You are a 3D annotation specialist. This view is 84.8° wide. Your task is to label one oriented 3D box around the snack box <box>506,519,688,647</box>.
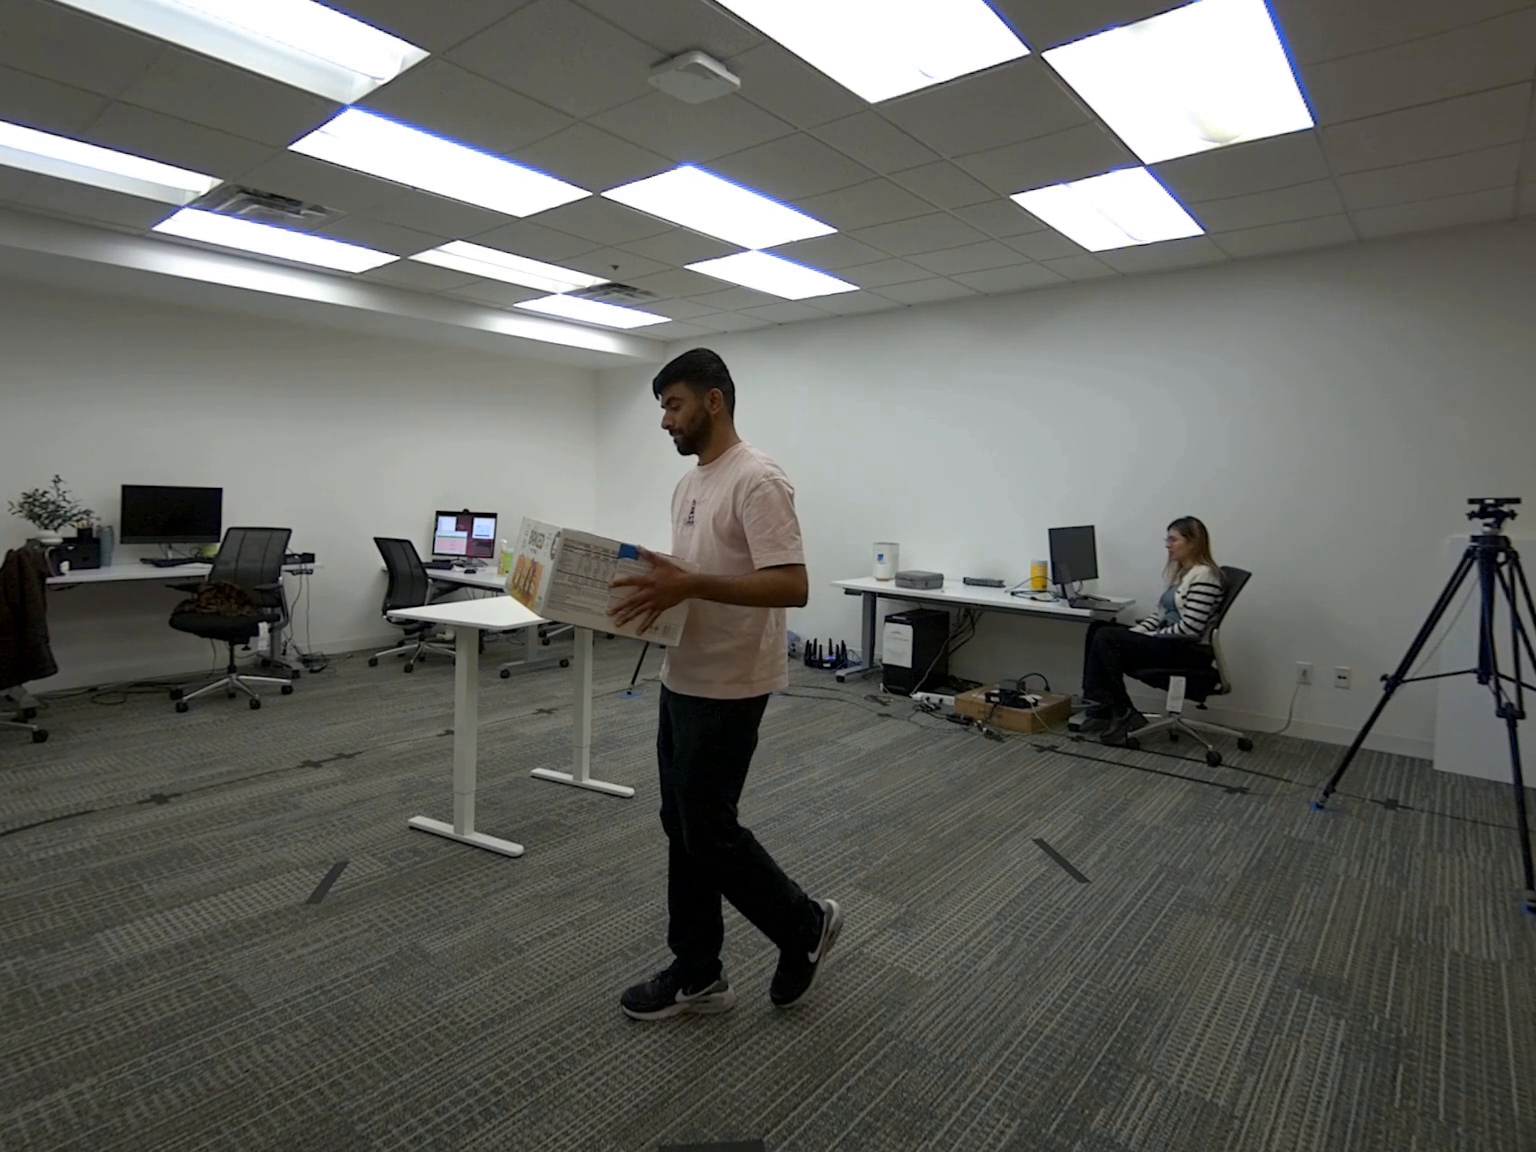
[{"bbox_3d":[-0.422,0.005,2.082,0.330,0.206,0.417,15,-1,-28],"label":"snack box"}]
